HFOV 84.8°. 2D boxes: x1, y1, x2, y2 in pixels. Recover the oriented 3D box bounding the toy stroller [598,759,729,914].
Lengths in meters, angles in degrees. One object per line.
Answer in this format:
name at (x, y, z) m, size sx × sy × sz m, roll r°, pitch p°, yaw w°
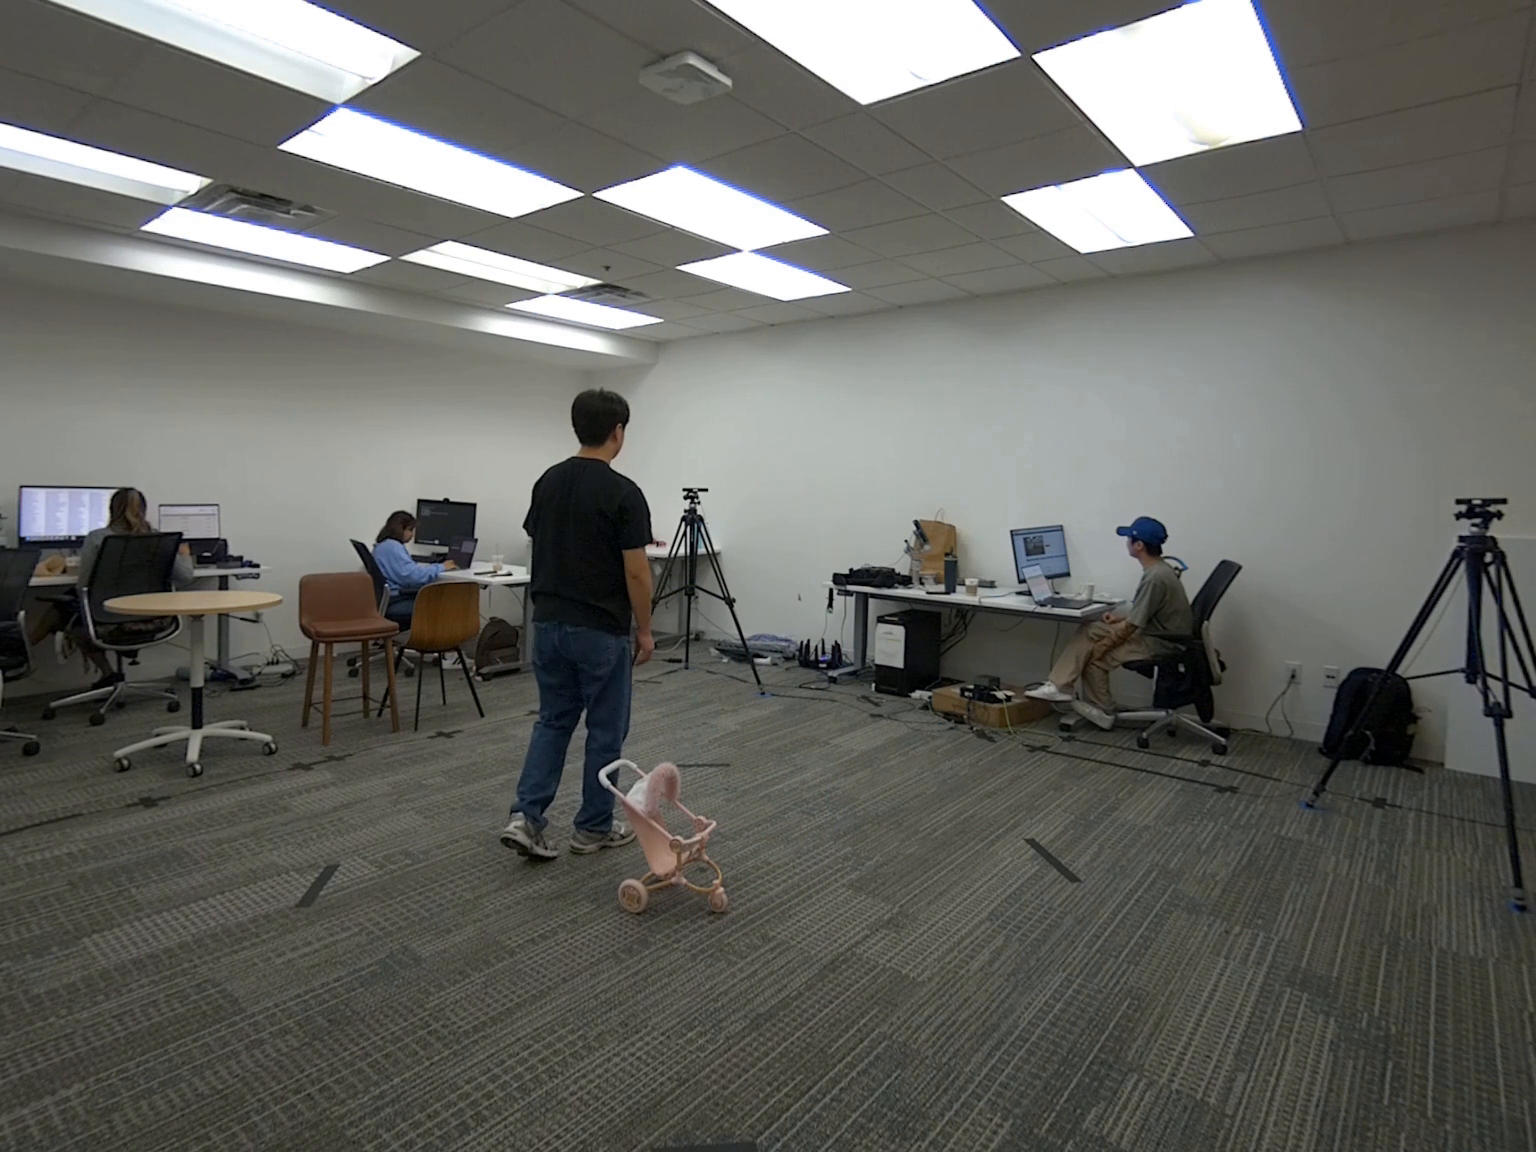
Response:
toy stroller at (-0.345, 0.868, 2.856) m, size 0.347 × 0.538 × 0.275 m, roll -15°, pitch -4°, yaw 26°
